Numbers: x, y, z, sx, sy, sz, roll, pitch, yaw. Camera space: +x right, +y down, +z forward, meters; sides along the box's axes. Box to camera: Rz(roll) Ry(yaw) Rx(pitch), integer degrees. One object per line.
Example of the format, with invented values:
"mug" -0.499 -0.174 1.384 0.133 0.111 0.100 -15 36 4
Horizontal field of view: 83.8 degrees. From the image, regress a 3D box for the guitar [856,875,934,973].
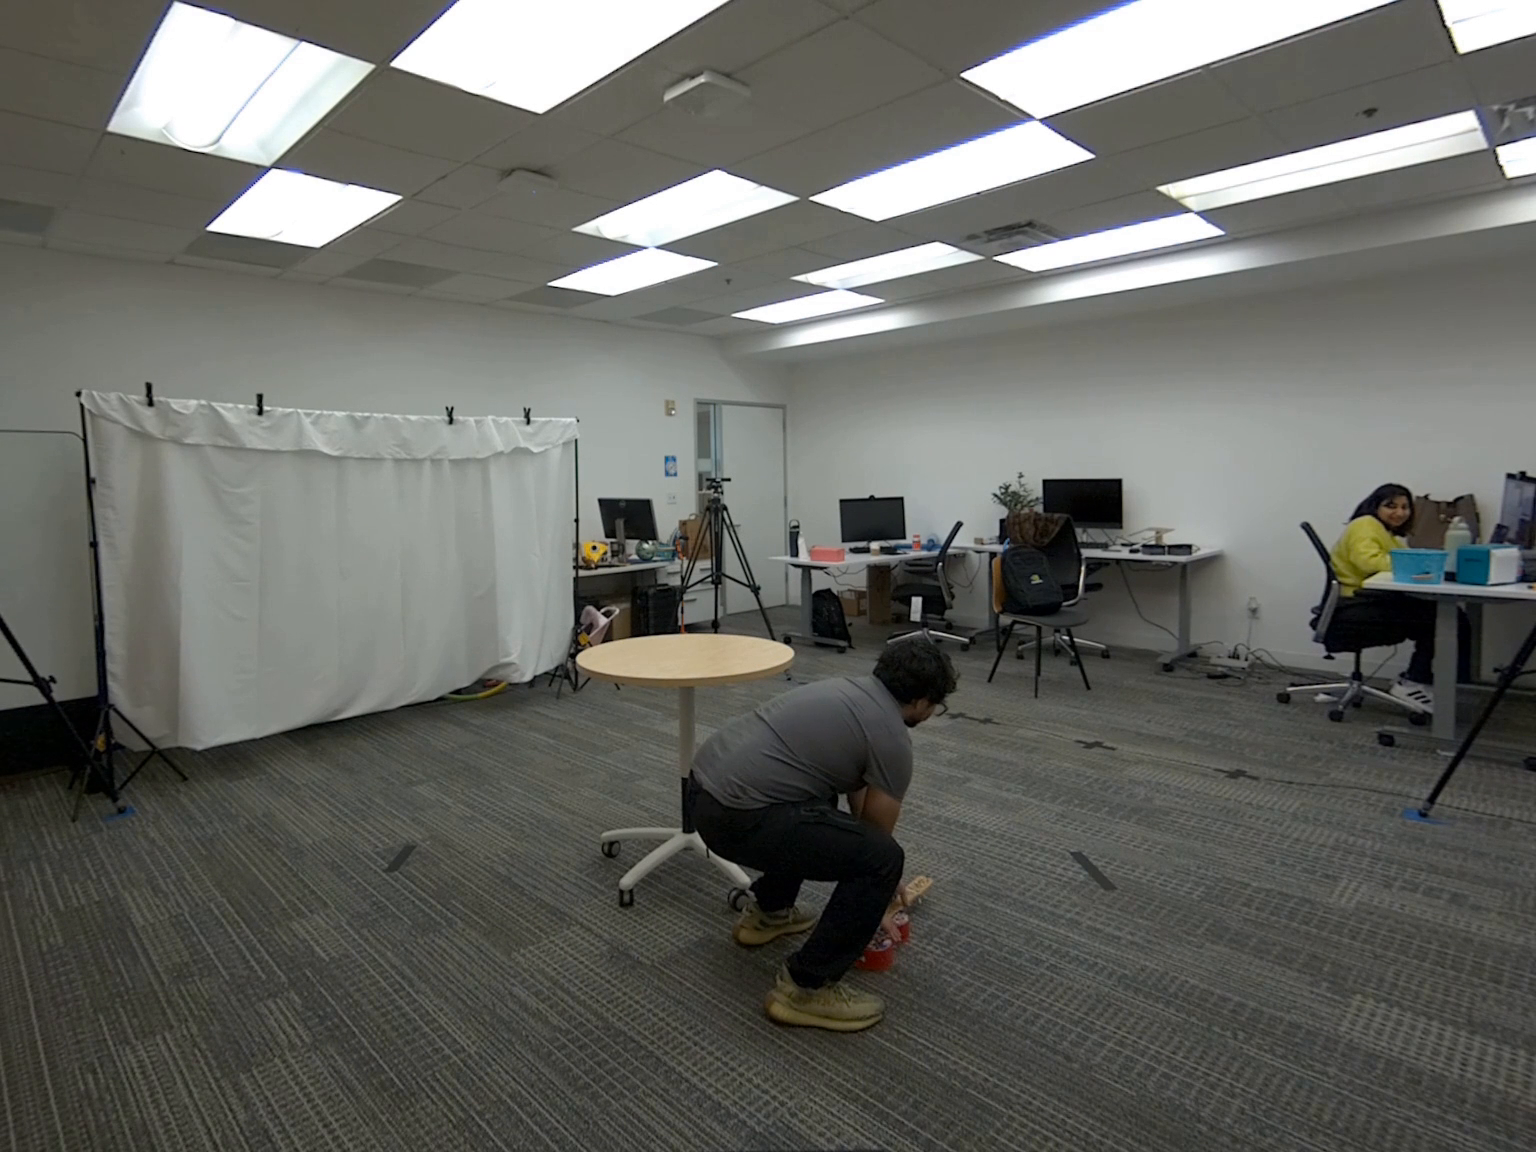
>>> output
"guitar" 0.399 1.052 2.618 0.199 0.070 0.485 7 11 44
